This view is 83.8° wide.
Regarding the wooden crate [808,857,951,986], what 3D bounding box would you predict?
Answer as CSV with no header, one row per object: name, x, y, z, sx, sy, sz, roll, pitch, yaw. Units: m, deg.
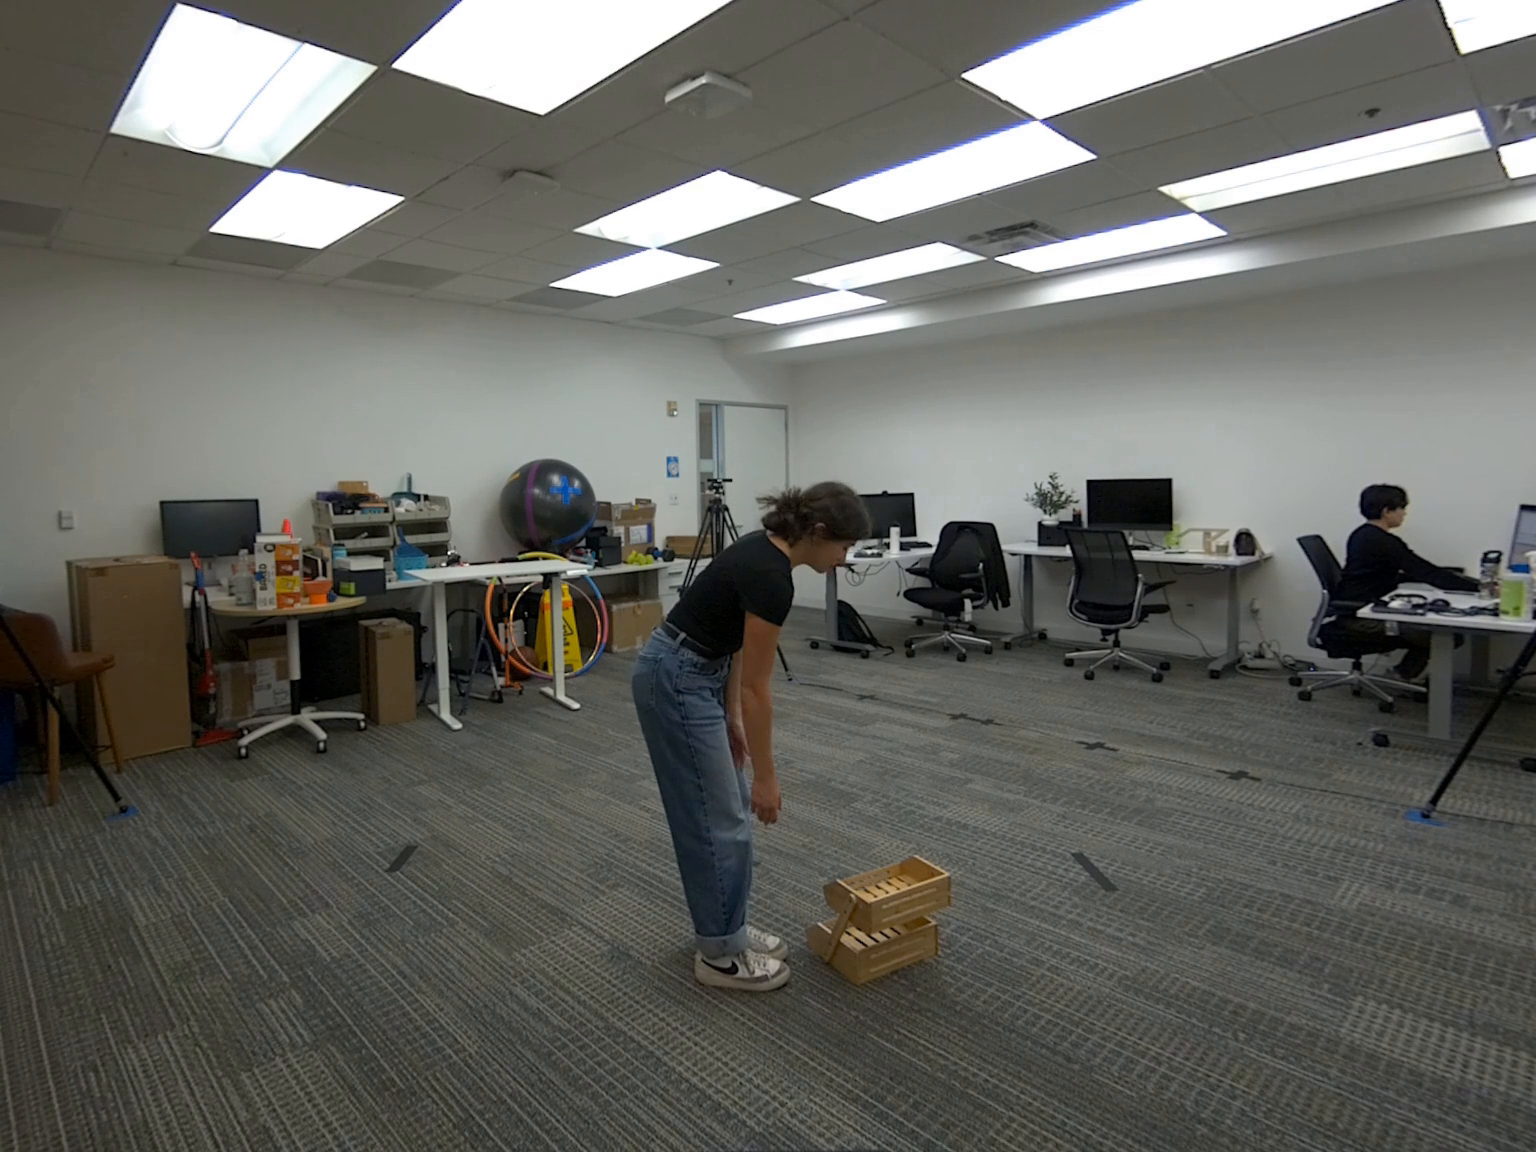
wooden crate,0.322,0.976,2.498,0.317,0.272,0.311,-5,7,-32
